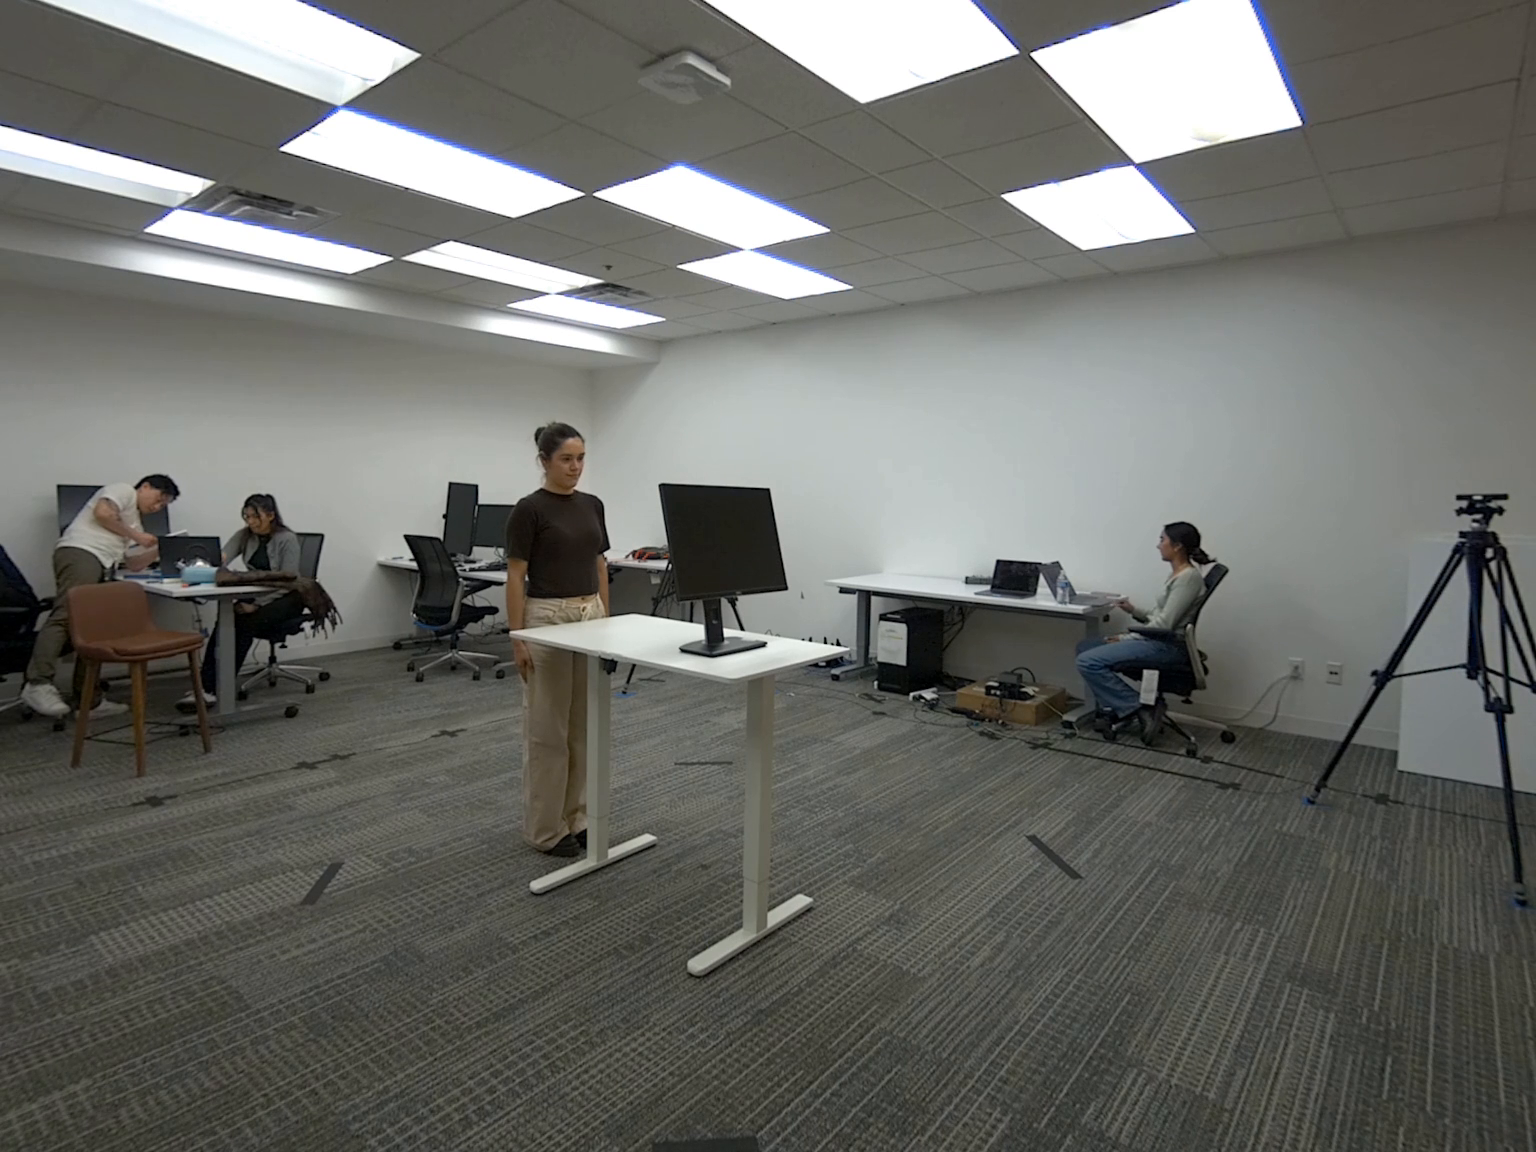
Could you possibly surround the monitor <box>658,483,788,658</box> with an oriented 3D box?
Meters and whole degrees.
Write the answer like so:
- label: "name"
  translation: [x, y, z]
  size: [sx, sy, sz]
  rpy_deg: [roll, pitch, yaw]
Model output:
- label: "monitor"
  translation: [-0.156, -0.028, 2.681]
  size: [0.180, 0.514, 0.514]
  rpy_deg: [6, 5, 37]
